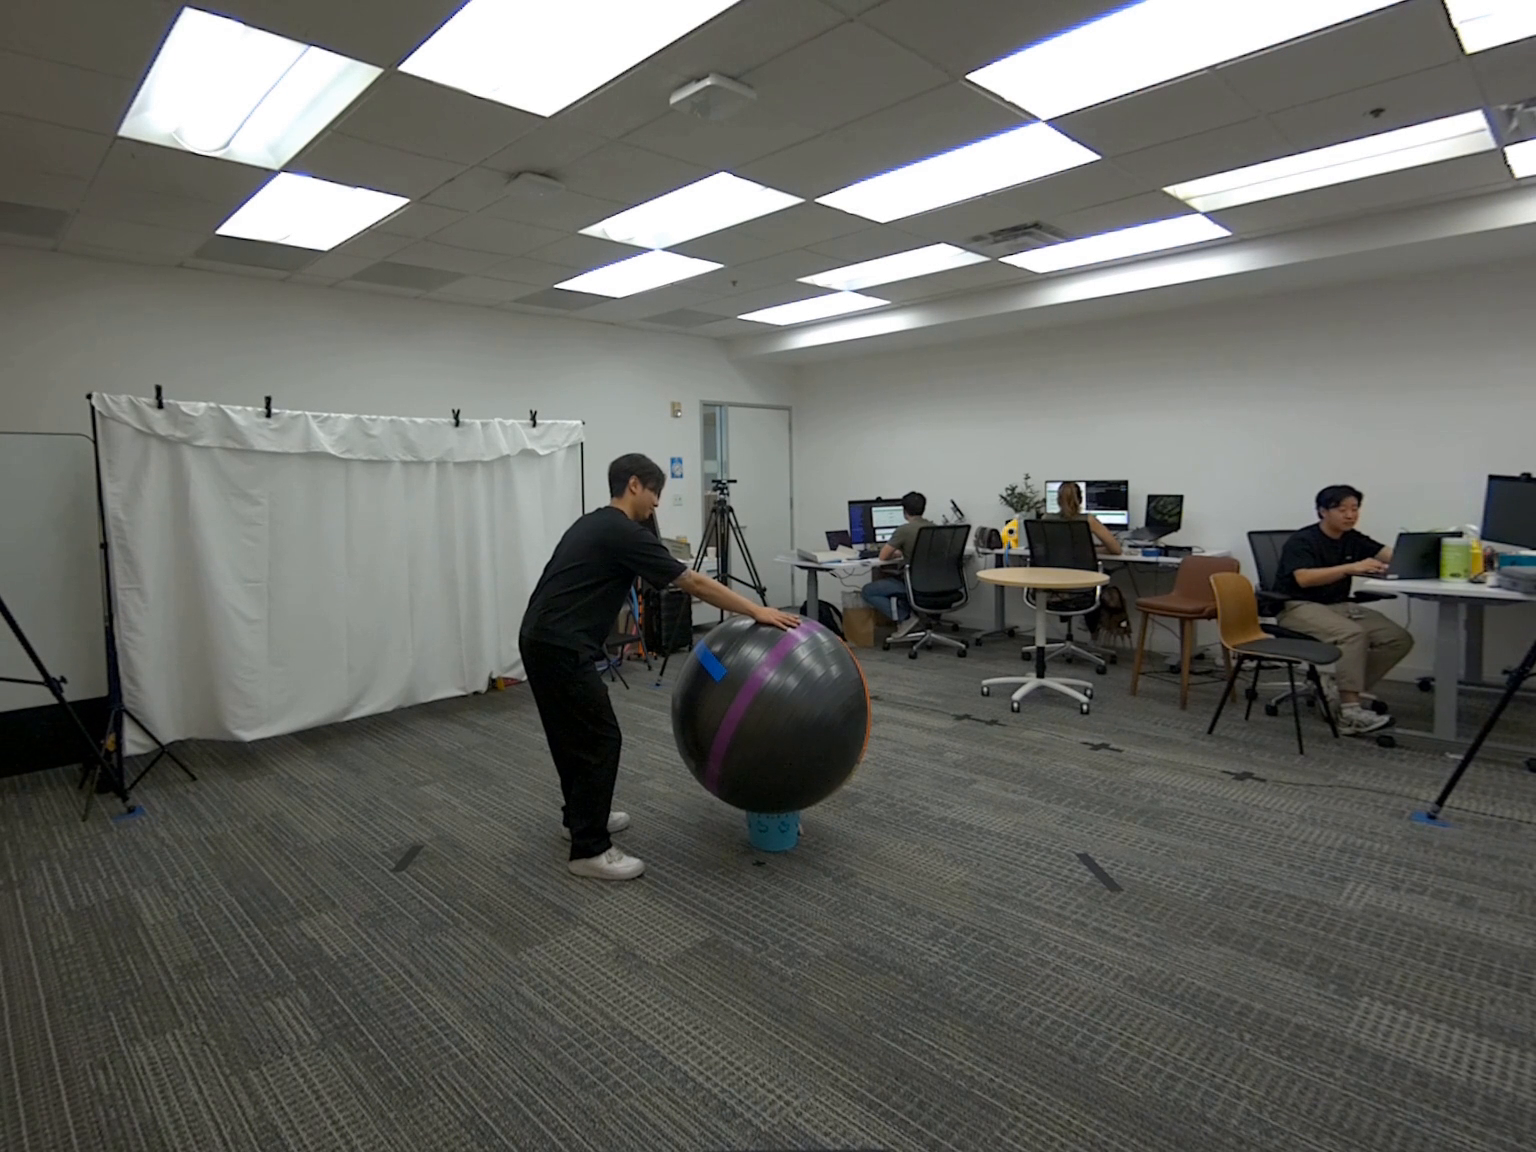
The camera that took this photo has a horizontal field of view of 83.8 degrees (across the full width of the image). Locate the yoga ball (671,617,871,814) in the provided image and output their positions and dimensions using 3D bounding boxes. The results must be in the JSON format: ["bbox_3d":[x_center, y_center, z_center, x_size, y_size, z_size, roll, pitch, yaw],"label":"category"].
[{"bbox_3d":[0.019,0.520,3.276,0.757,0.755,0.762,-1,5,-2],"label":"yoga ball"}]
